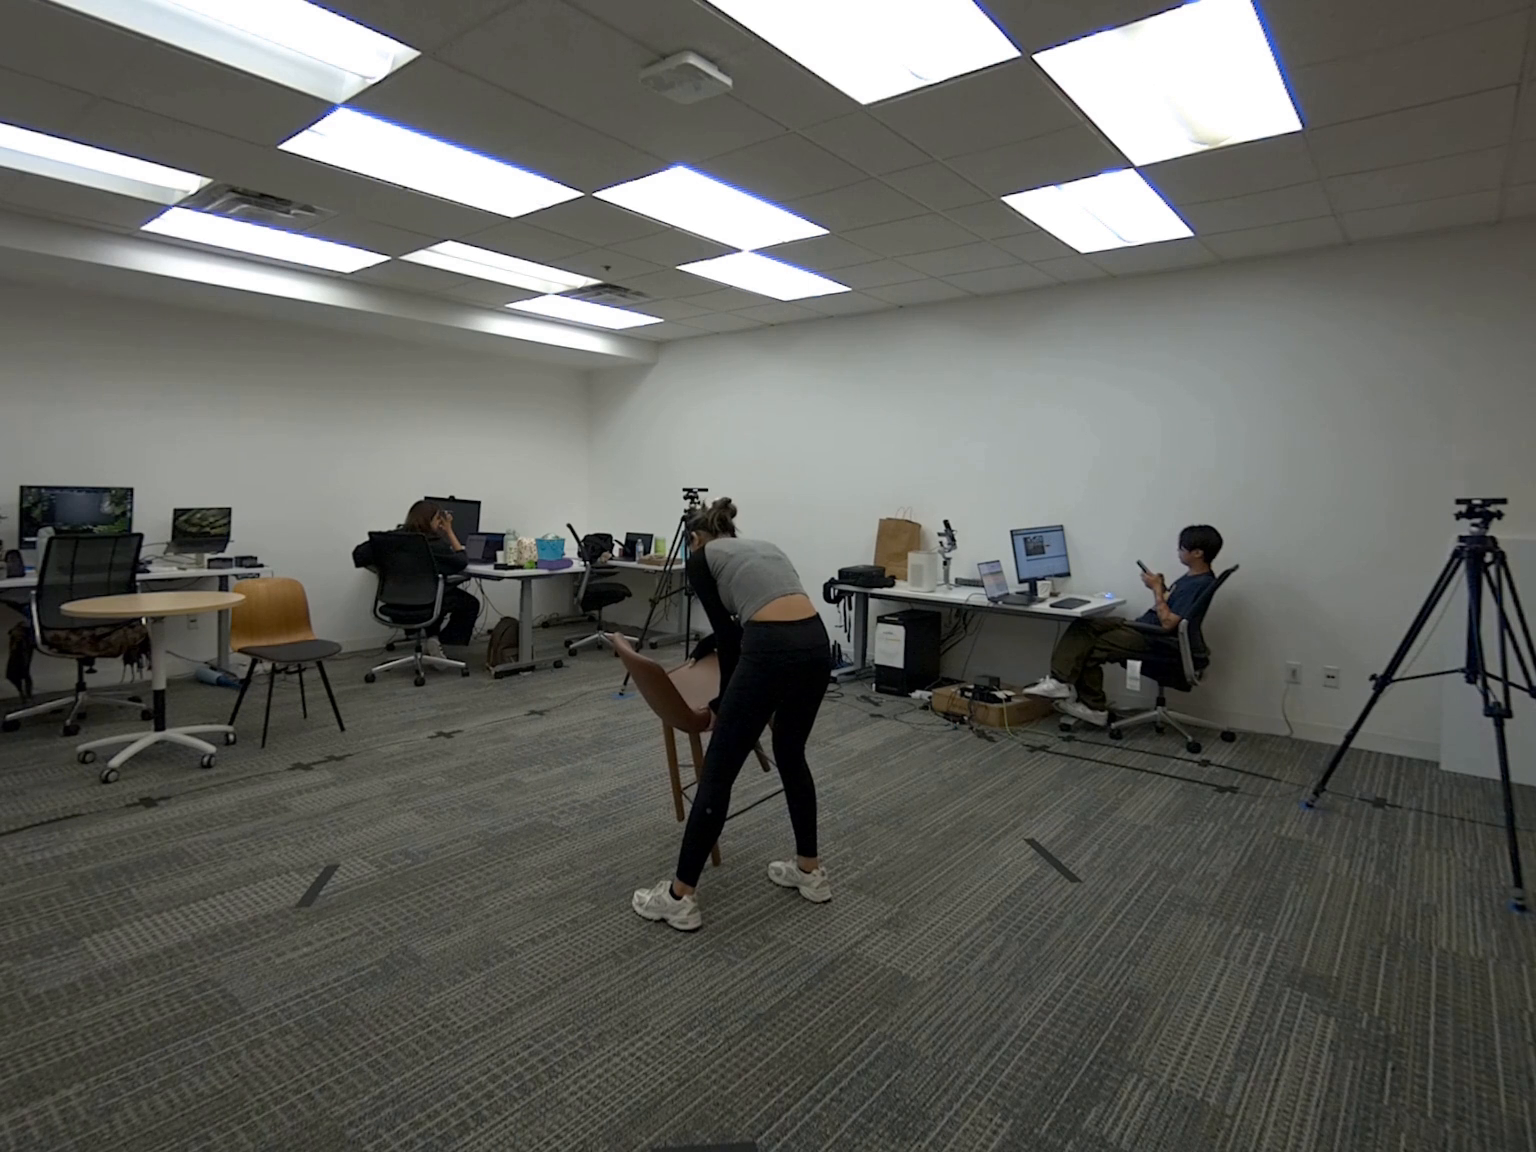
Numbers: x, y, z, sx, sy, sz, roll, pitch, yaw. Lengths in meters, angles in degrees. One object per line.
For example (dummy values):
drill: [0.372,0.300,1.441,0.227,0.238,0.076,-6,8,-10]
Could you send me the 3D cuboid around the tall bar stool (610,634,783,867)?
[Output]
tall bar stool: [-0.214,0.563,3.250,0.462,0.871,0.472,-24,20,-22]
